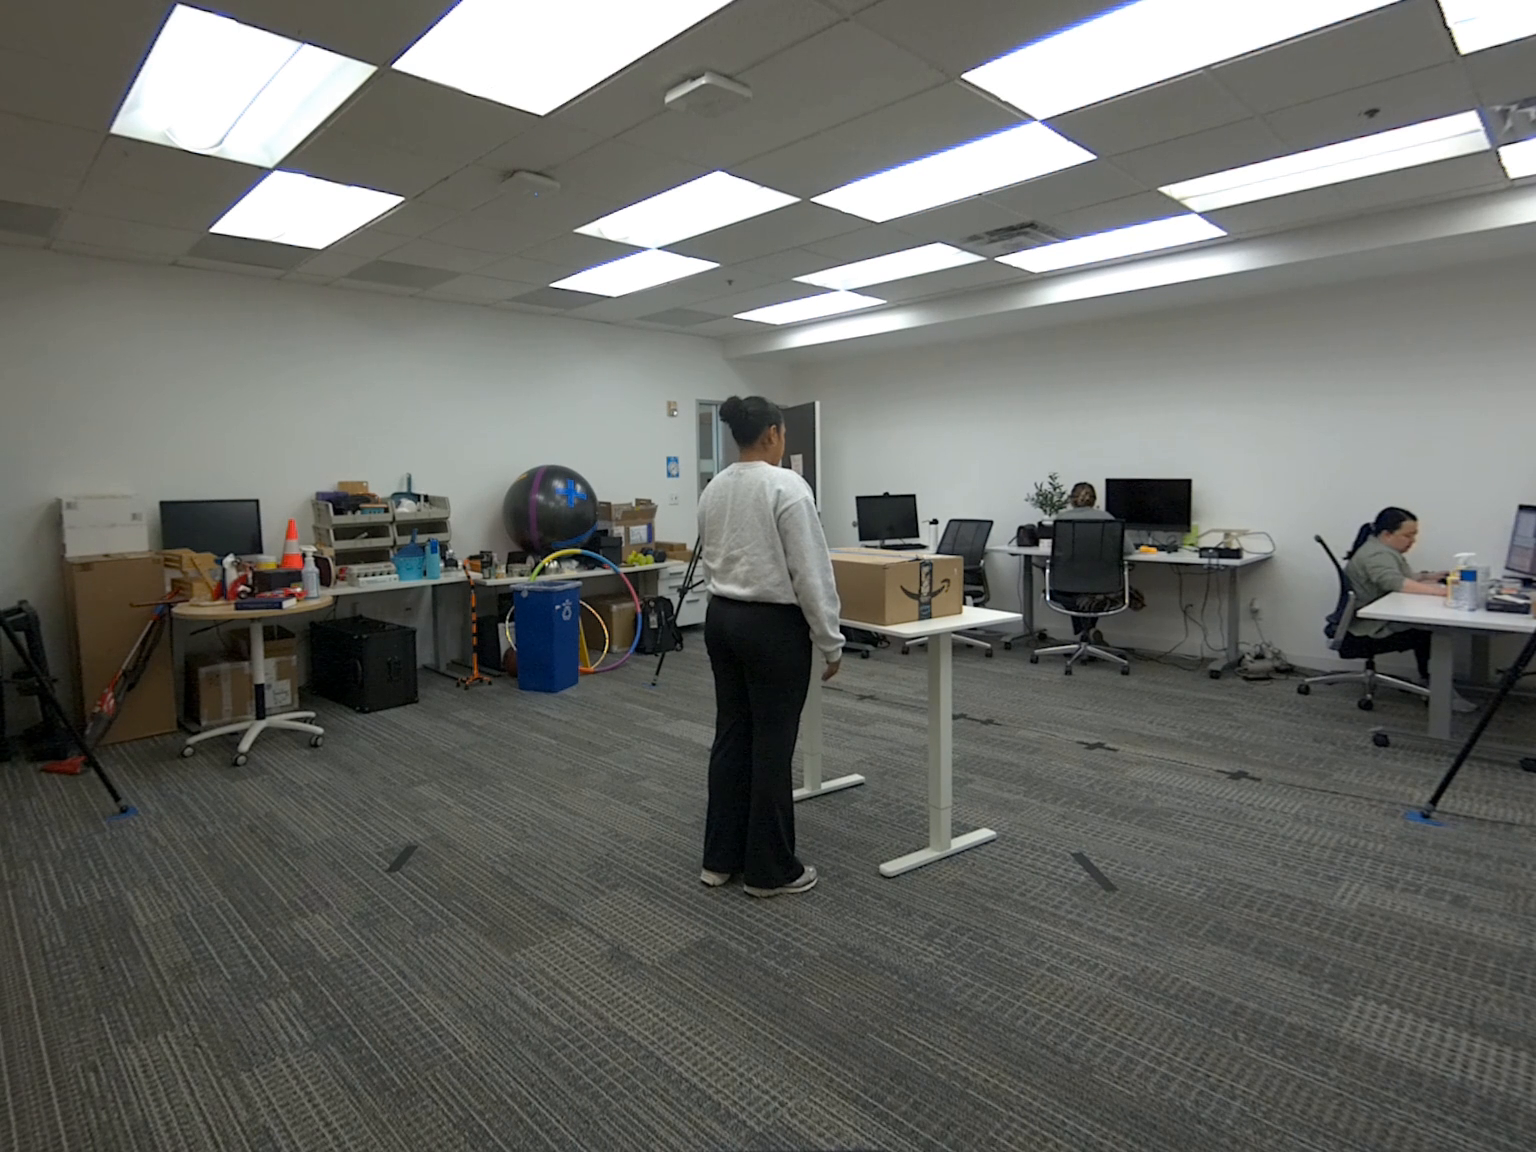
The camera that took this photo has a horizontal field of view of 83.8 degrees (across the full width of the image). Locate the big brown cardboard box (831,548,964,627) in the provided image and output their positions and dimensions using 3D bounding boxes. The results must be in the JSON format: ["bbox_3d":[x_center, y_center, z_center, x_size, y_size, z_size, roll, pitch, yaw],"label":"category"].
[{"bbox_3d":[0.386,0.025,3.281,0.407,0.232,0.607,-6,7,-37],"label":"big brown cardboard box"}]
